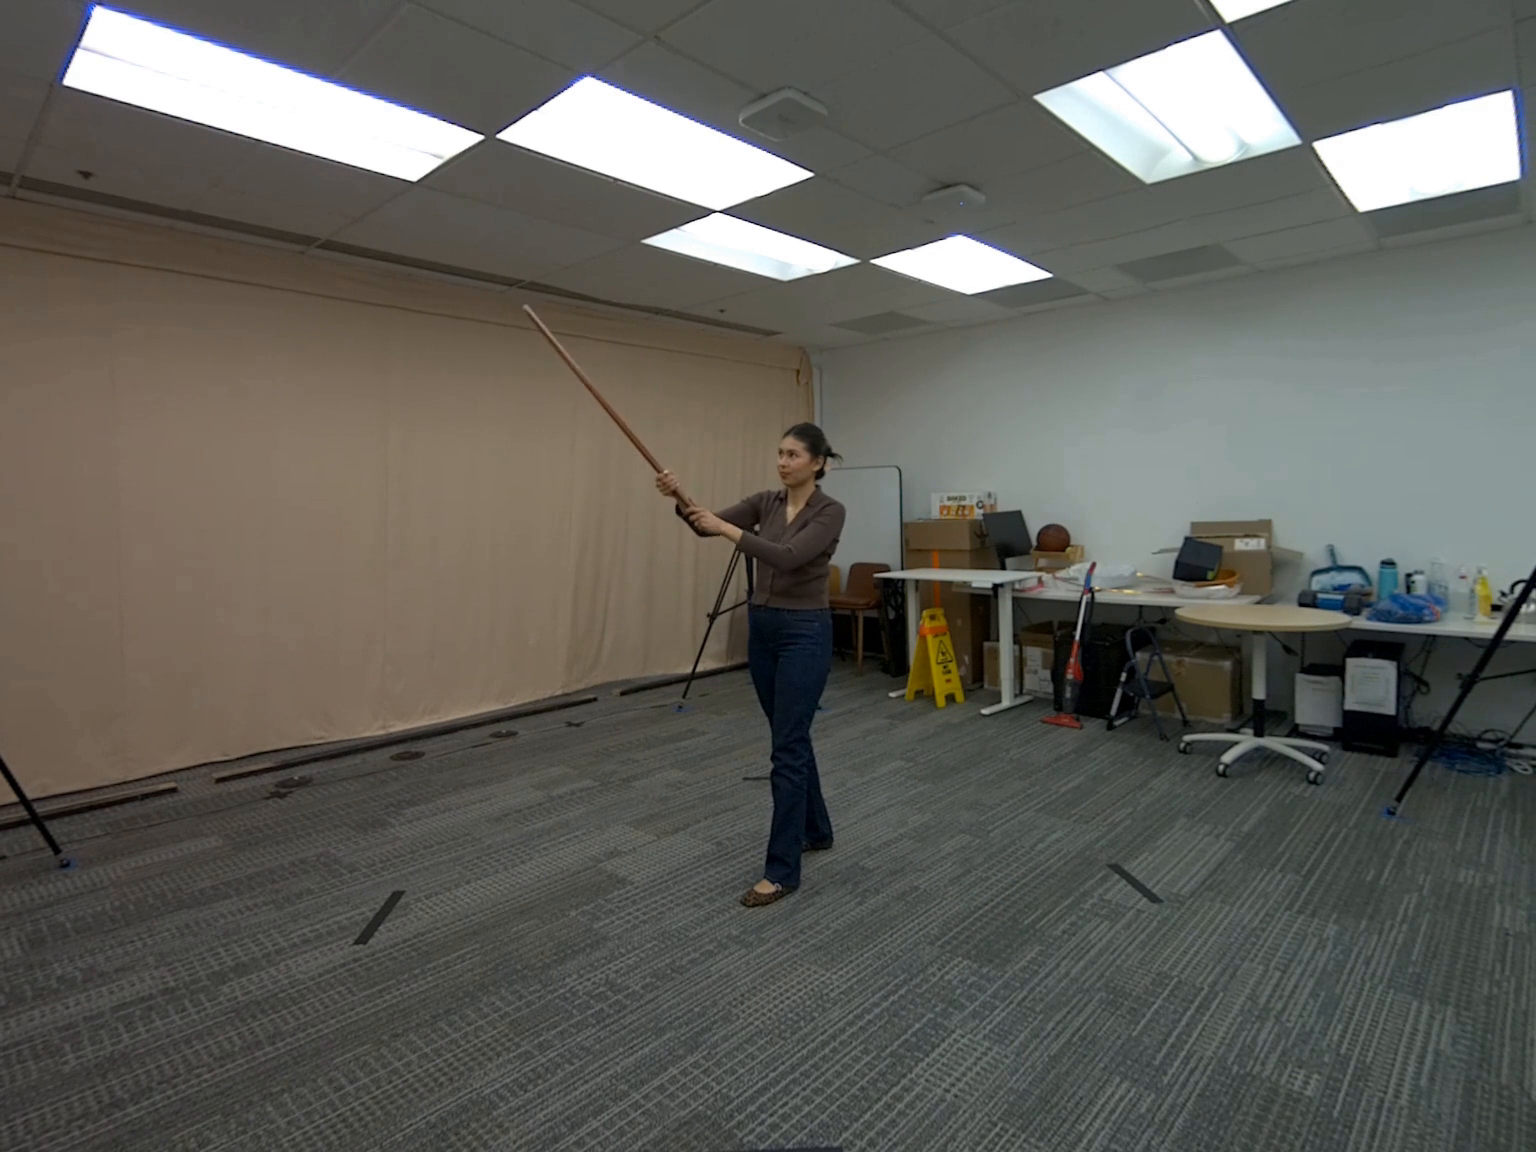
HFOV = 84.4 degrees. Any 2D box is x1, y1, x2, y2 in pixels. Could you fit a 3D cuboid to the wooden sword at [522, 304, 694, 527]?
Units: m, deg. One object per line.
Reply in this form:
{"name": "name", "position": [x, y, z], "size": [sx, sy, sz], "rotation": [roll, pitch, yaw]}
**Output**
{"name": "wooden sword", "position": [-0.498, -0.529, 2.936], "size": [0.051, 1.023, 0.024], "rotation": [-37, 1, 12]}
